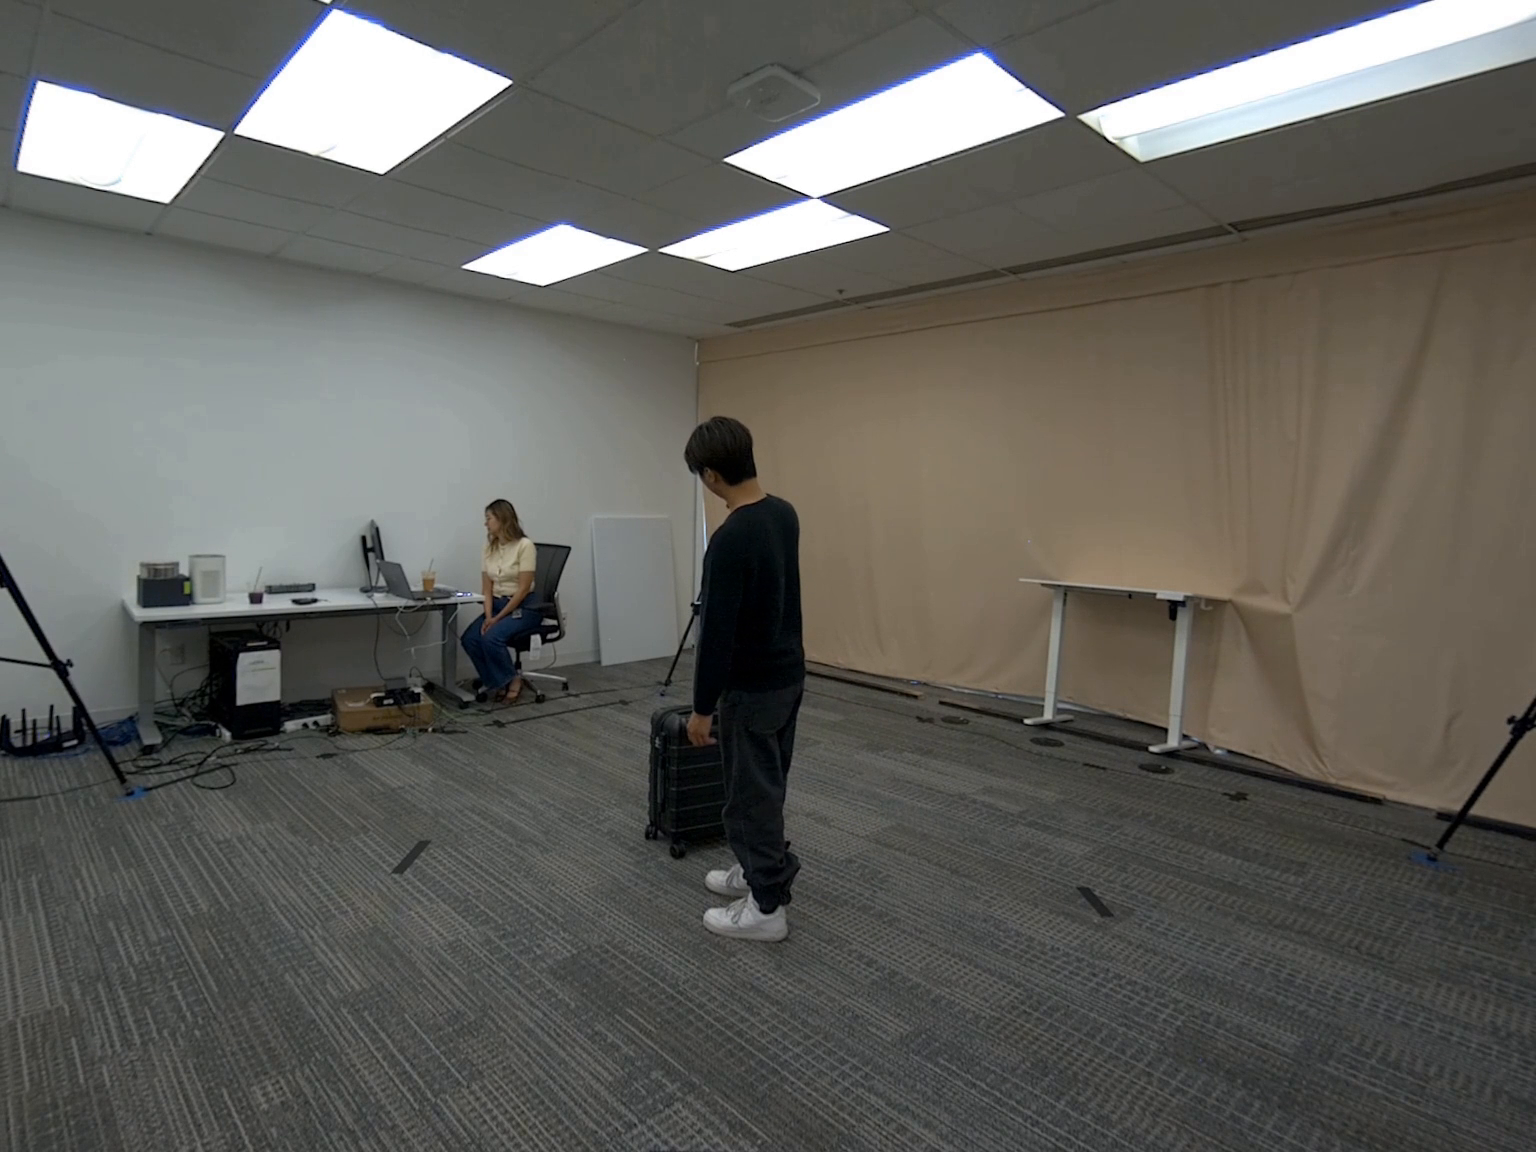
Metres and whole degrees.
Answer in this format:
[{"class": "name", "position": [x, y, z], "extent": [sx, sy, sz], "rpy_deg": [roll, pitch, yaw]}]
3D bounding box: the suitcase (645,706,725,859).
[{"class": "suitcase", "position": [-0.298, 0.600, 3.417], "extent": [0.376, 0.978, 0.262], "rpy_deg": [1, 1, -31]}]
